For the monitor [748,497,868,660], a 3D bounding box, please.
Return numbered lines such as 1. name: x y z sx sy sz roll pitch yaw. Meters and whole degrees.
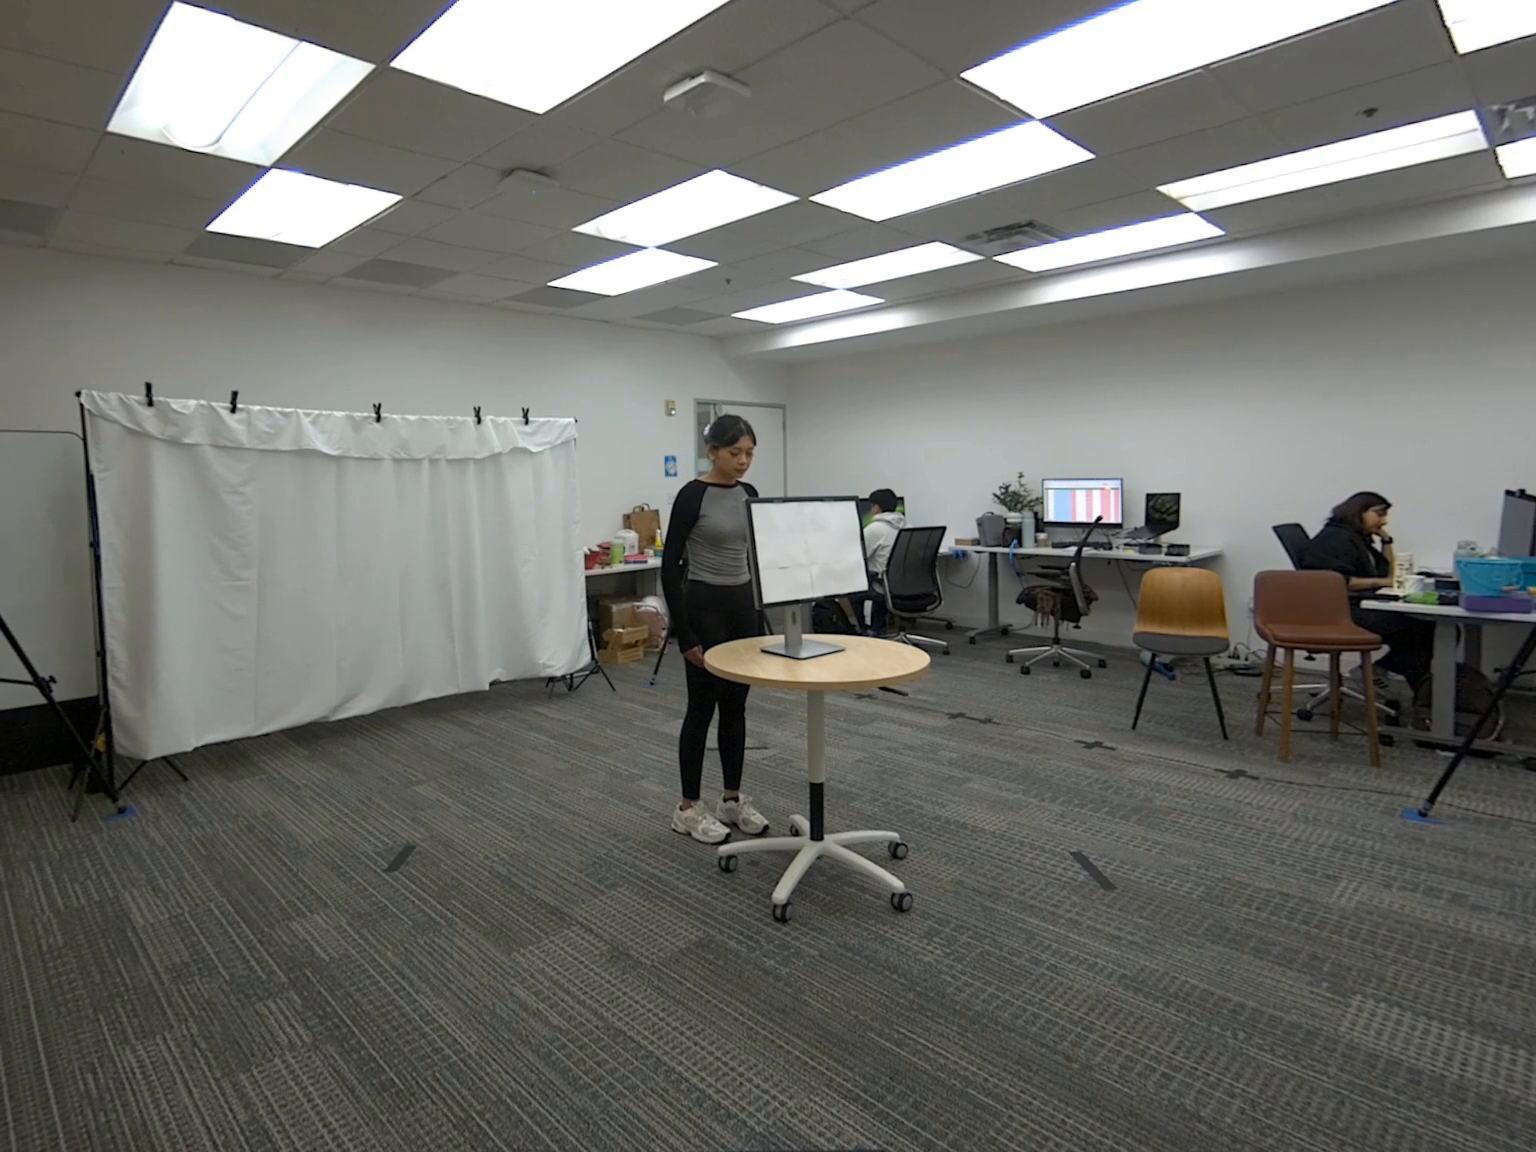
1. monitor: 0.124 -0.002 2.982 0.525 0.520 0.193 -6 8 -44
